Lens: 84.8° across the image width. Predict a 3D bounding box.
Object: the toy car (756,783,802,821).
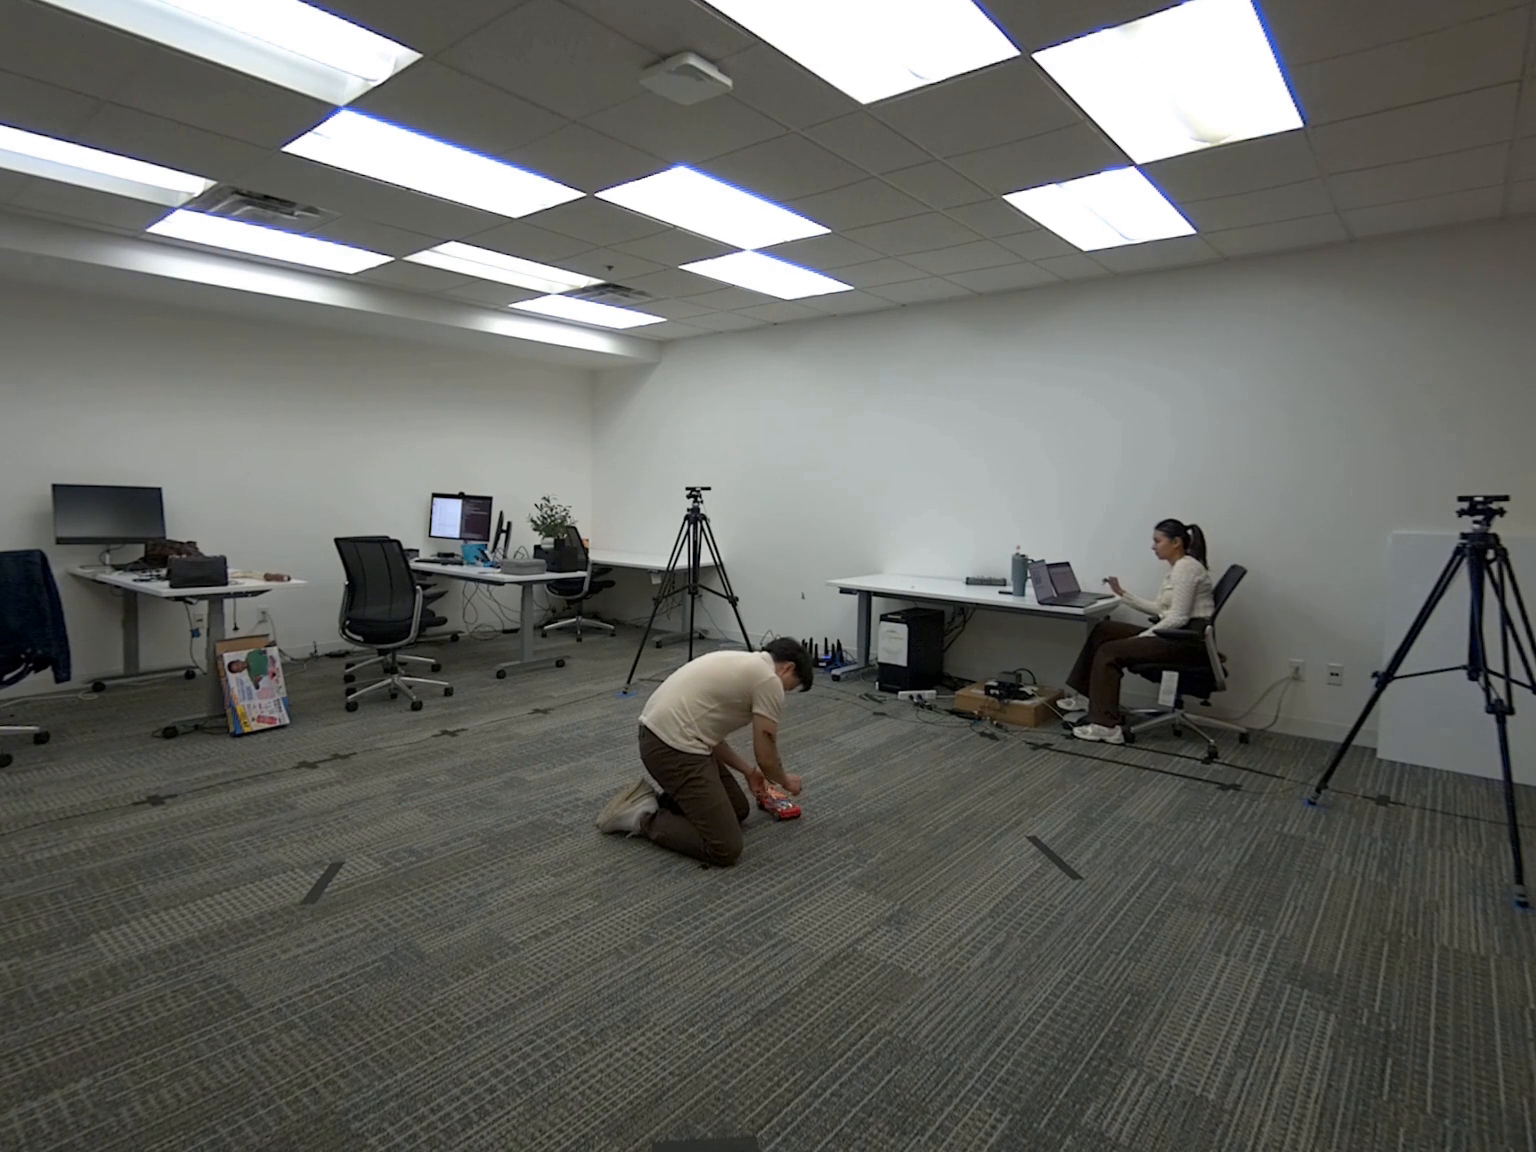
[{"bbox_3d":[0.028,0.980,3.686,0.127,0.082,0.264,-1,17,-30],"label":"toy car"}]
